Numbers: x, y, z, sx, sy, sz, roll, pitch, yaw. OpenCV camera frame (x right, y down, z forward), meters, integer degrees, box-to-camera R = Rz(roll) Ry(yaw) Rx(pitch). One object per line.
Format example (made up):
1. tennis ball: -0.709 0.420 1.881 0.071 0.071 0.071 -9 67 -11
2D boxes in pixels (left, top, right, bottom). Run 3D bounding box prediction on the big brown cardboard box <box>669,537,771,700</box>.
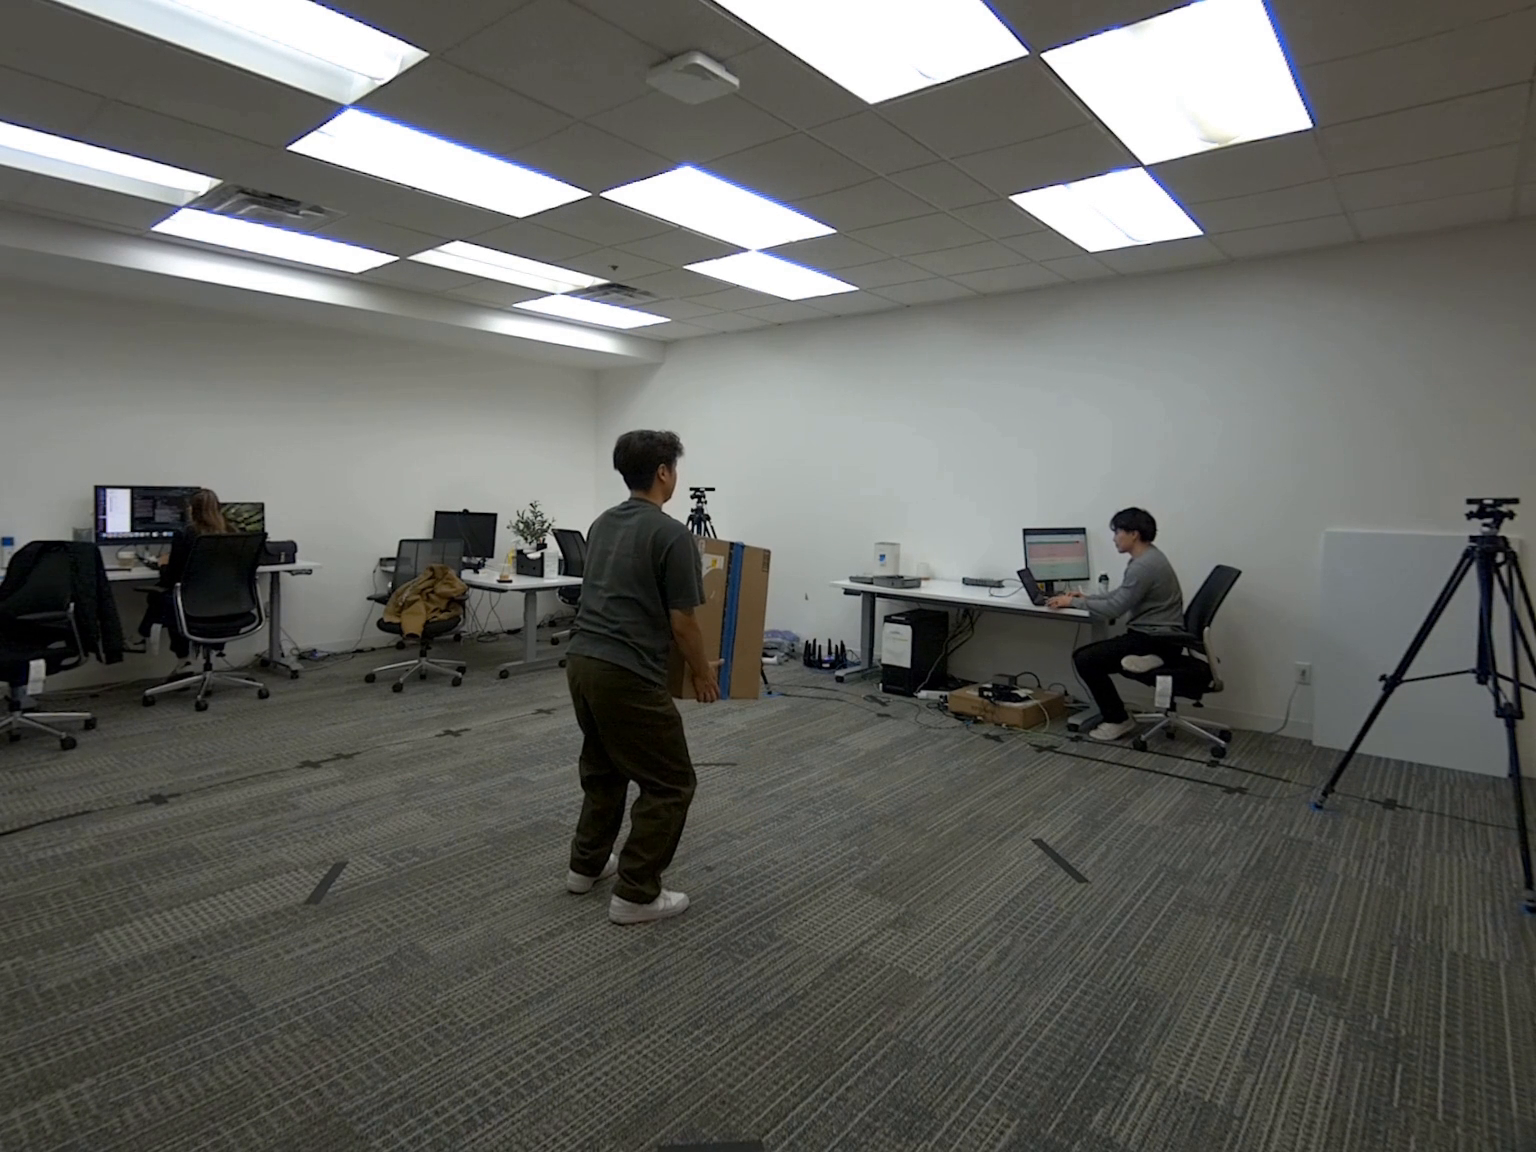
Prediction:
1. big brown cardboard box: -0.230 0.152 3.138 0.241 0.591 0.403 2 -5 41
